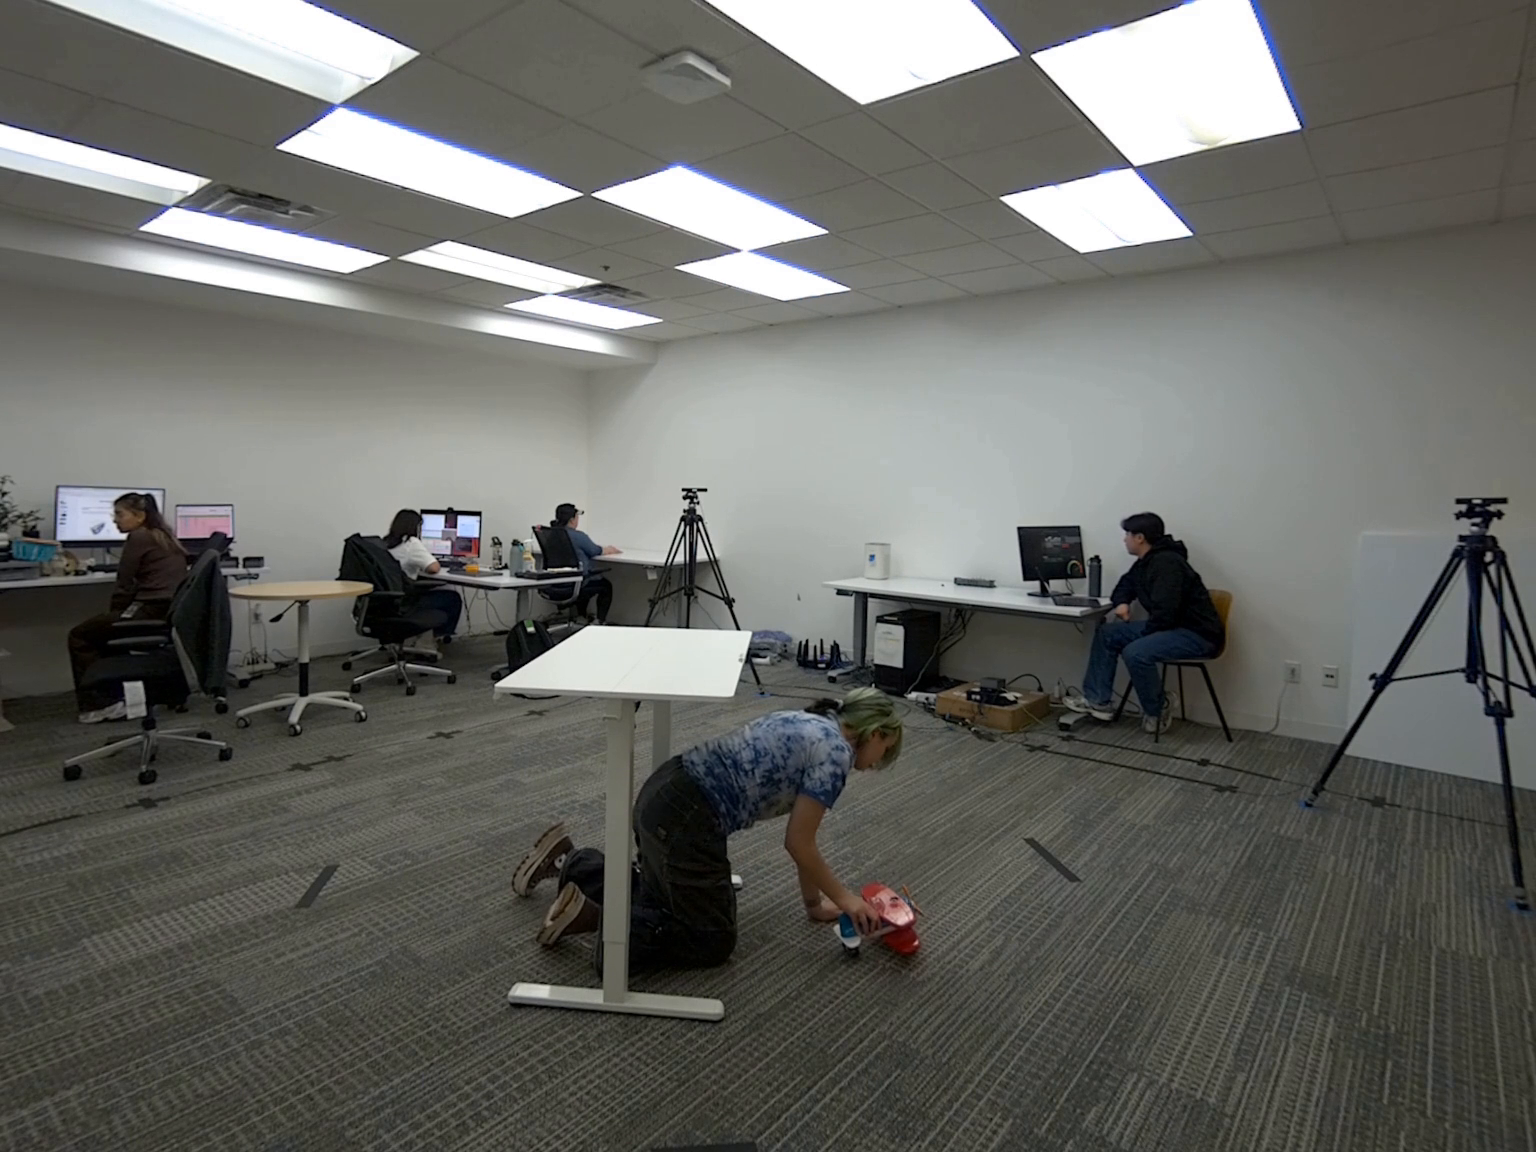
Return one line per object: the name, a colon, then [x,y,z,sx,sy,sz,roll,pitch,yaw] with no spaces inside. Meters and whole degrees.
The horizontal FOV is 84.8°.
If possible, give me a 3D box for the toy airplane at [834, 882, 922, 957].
toy airplane: [0.337,1.068,2.568,0.260,0.156,0.251,7,6,42]
